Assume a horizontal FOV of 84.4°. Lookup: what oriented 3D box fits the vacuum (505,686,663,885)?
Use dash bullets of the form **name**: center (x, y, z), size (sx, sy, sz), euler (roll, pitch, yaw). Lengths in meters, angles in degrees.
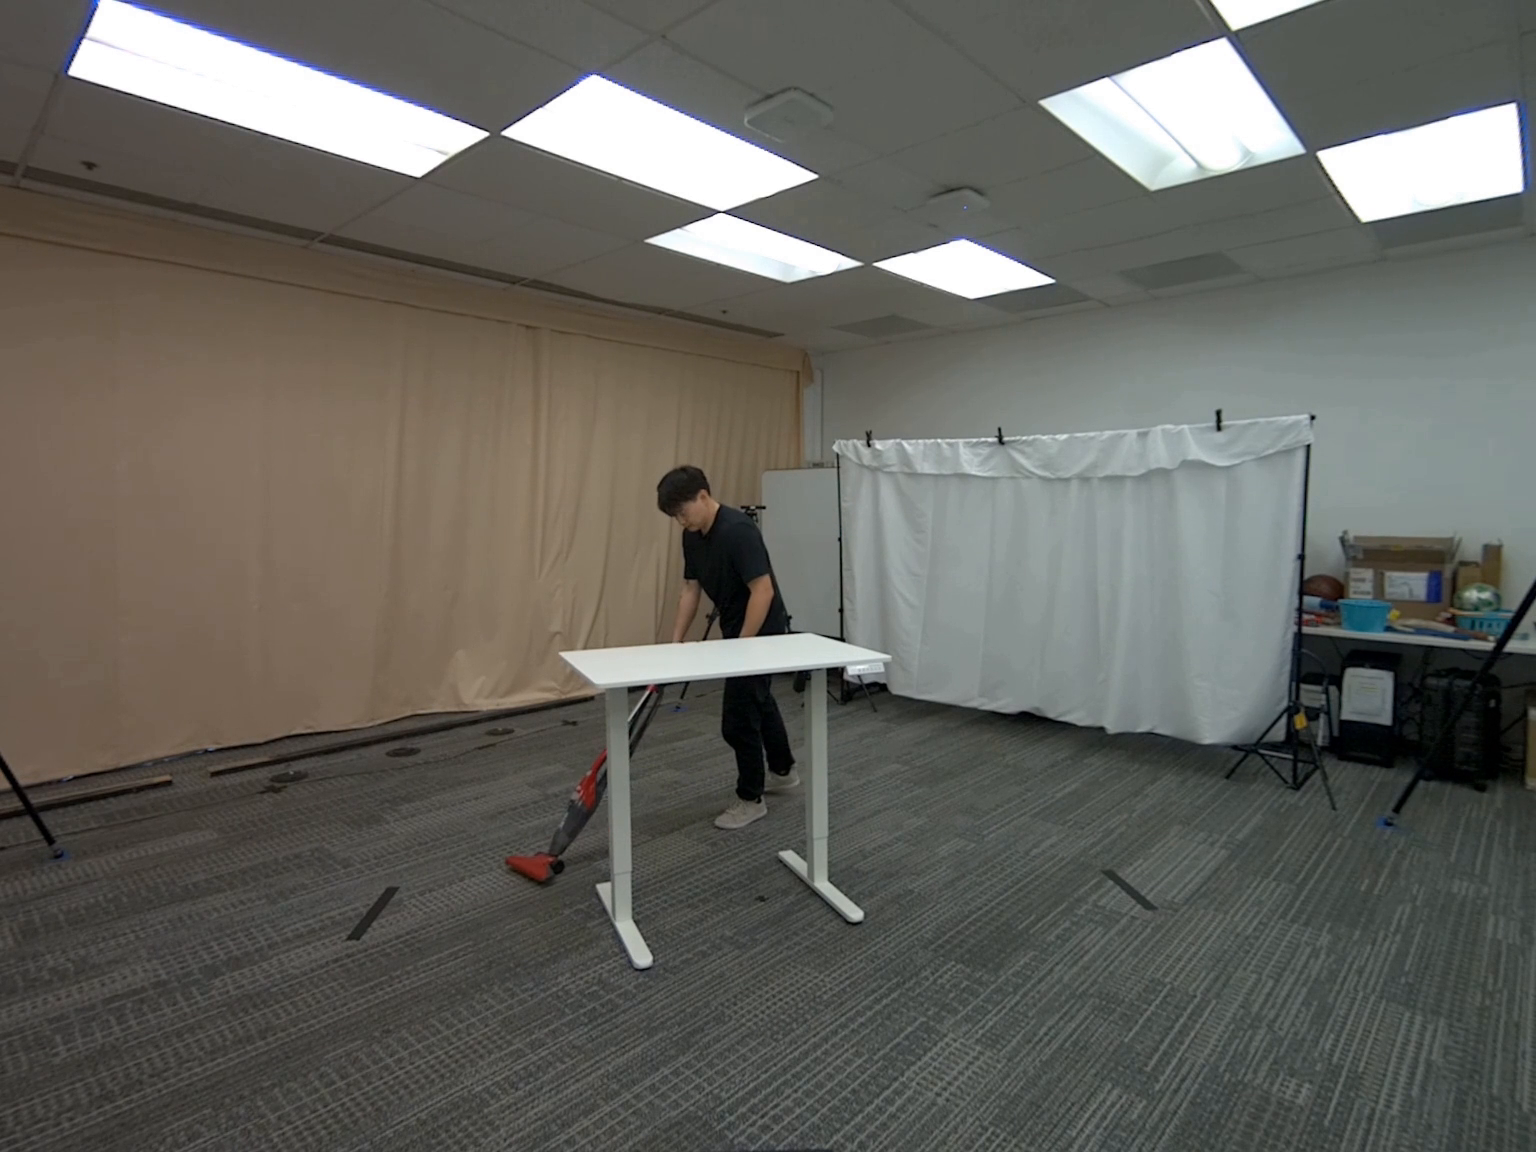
- **vacuum**: center (-0.625, 0.747, 3.469), size (0.261, 0.140, 1.045), euler (5, 47, 41)
